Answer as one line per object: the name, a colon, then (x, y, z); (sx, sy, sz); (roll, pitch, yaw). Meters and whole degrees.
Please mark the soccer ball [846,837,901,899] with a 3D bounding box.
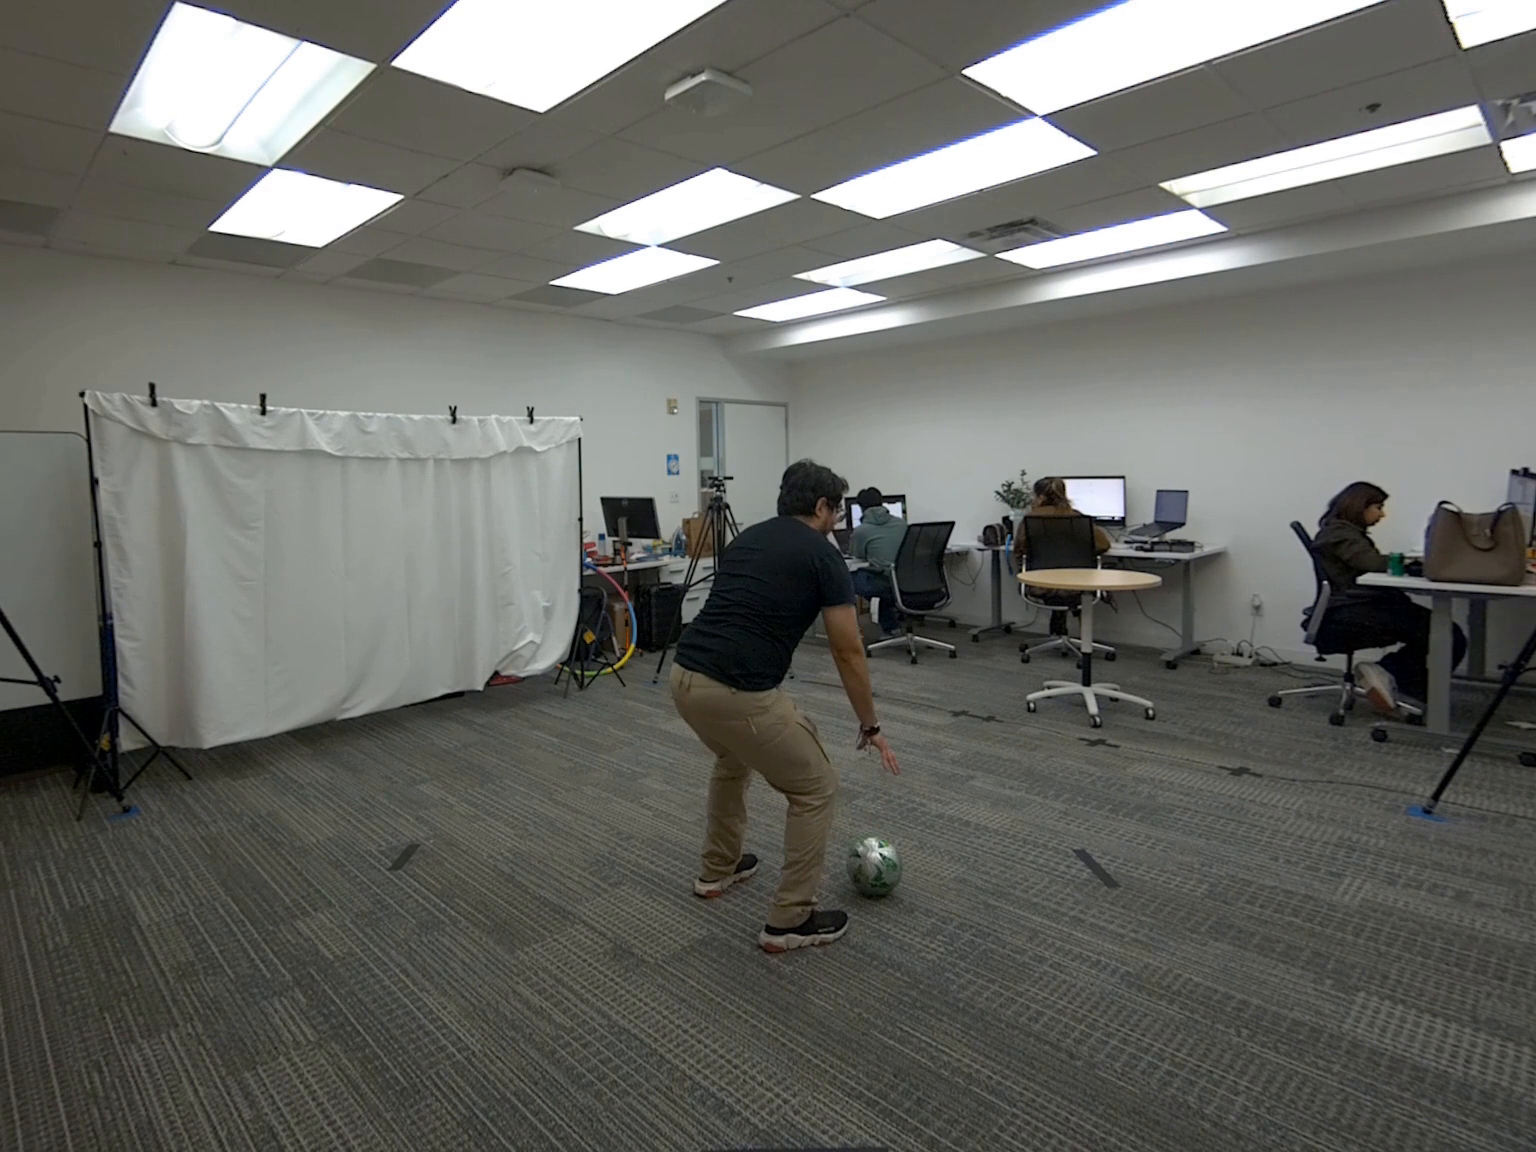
soccer ball: (0.352, 0.958, 2.849); (0.187, 0.187, 0.188); (-1, 5, -2)
